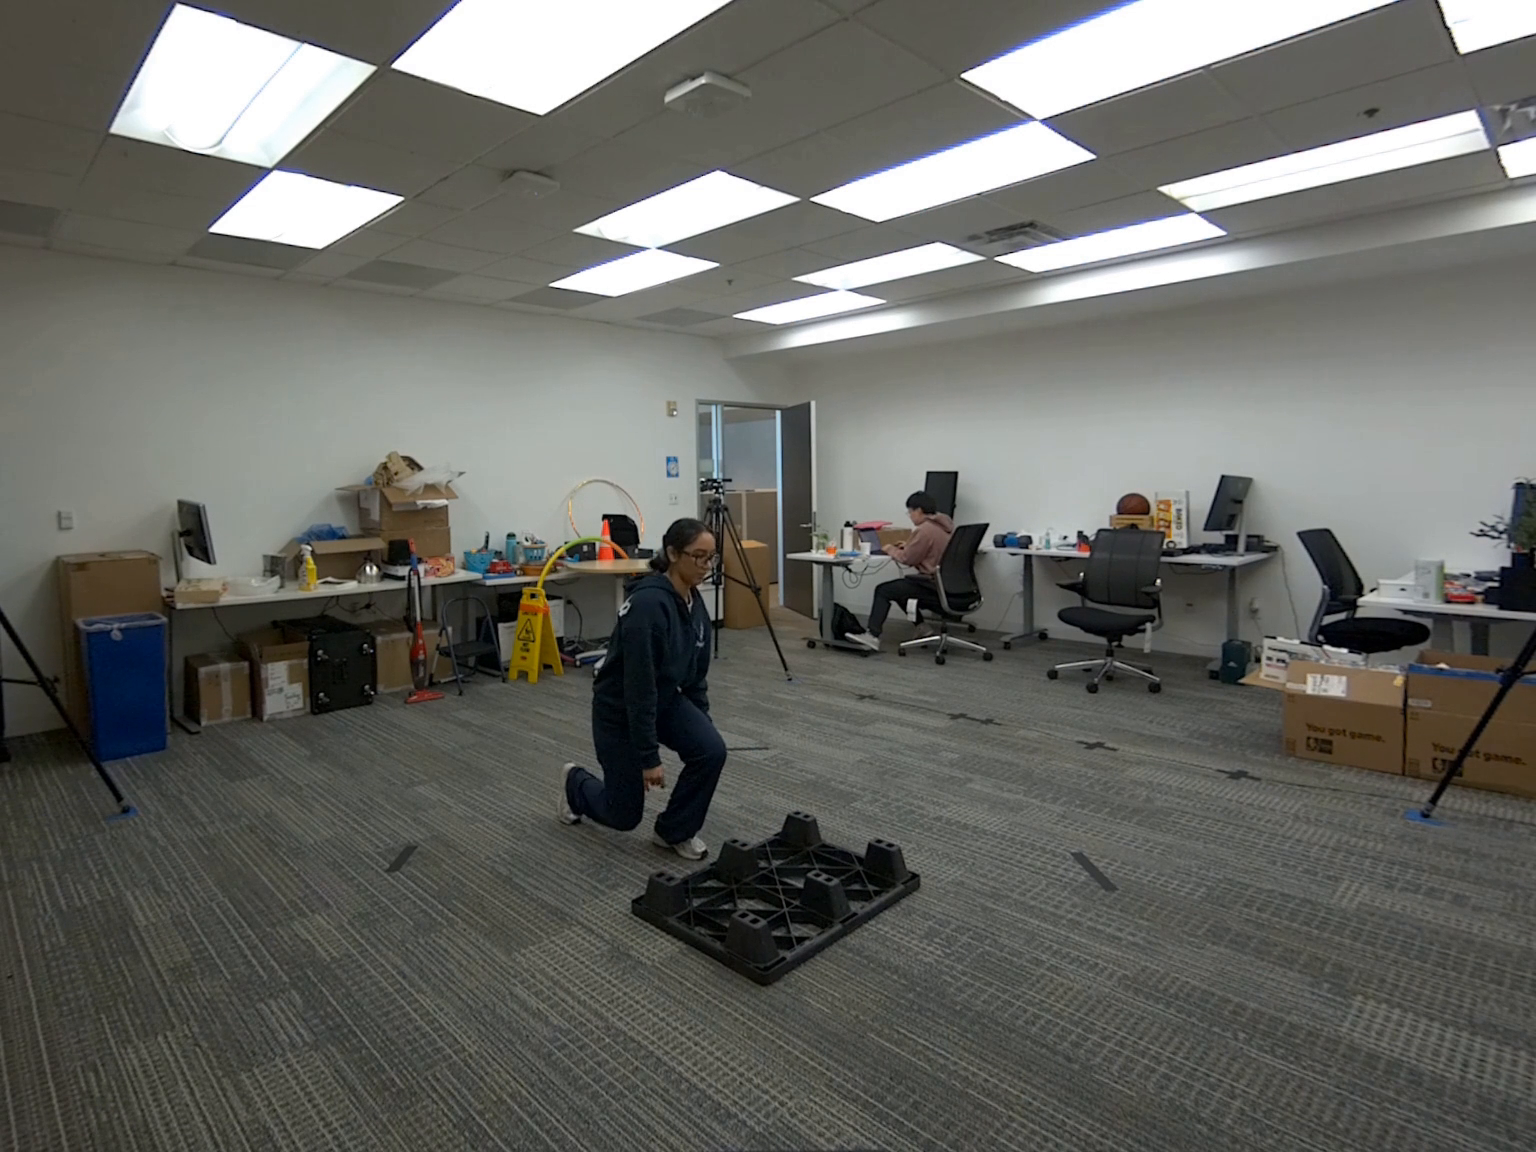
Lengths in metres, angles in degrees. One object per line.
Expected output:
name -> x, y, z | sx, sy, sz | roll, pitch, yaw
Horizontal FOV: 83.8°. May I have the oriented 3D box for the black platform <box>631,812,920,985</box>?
black platform -> 0.040, 1.011, 2.826 | 0.624, 0.143, 0.785 | 4, 8, 43
